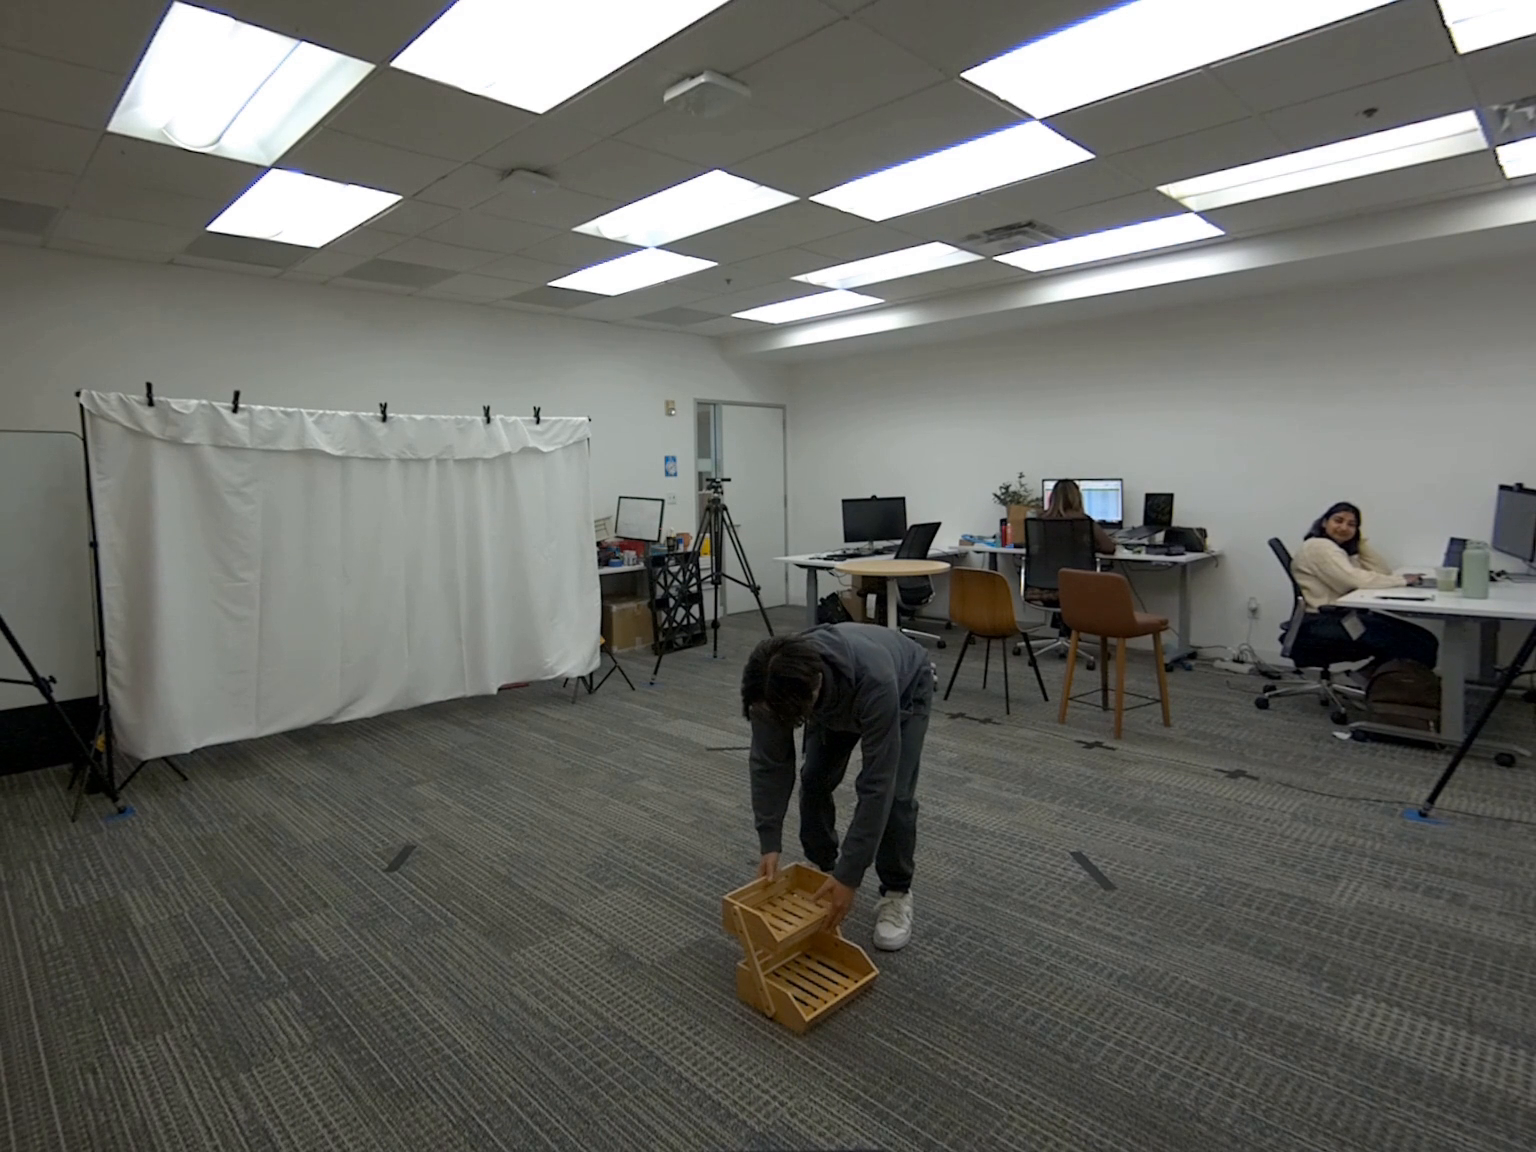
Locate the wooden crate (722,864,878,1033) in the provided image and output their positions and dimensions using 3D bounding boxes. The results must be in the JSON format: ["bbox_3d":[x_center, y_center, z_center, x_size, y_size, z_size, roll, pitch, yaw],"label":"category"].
[{"bbox_3d":[0.083,0.995,2.333,0.316,0.272,0.311,-7,7,-44],"label":"wooden crate"}]
